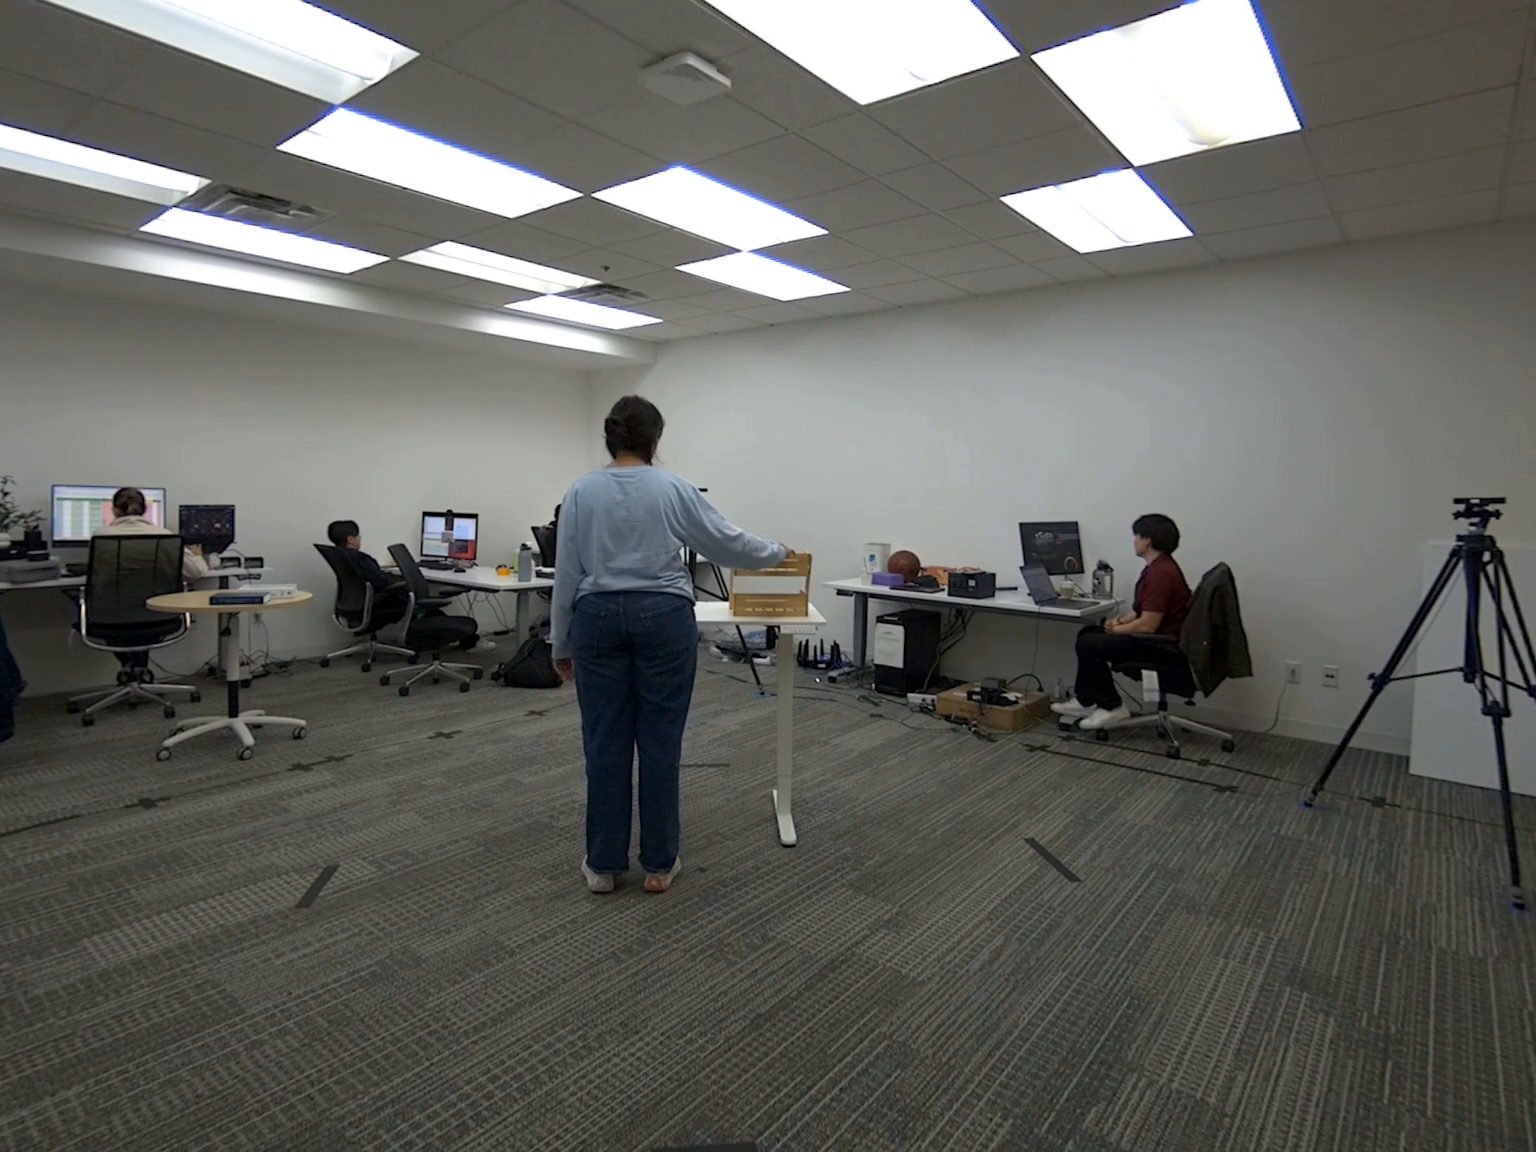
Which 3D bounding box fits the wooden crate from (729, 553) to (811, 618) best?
[{"bbox_3d":[-0.007,0.018,3.509,0.324,0.272,0.304,0,6,-3],"label":"wooden crate"}]
